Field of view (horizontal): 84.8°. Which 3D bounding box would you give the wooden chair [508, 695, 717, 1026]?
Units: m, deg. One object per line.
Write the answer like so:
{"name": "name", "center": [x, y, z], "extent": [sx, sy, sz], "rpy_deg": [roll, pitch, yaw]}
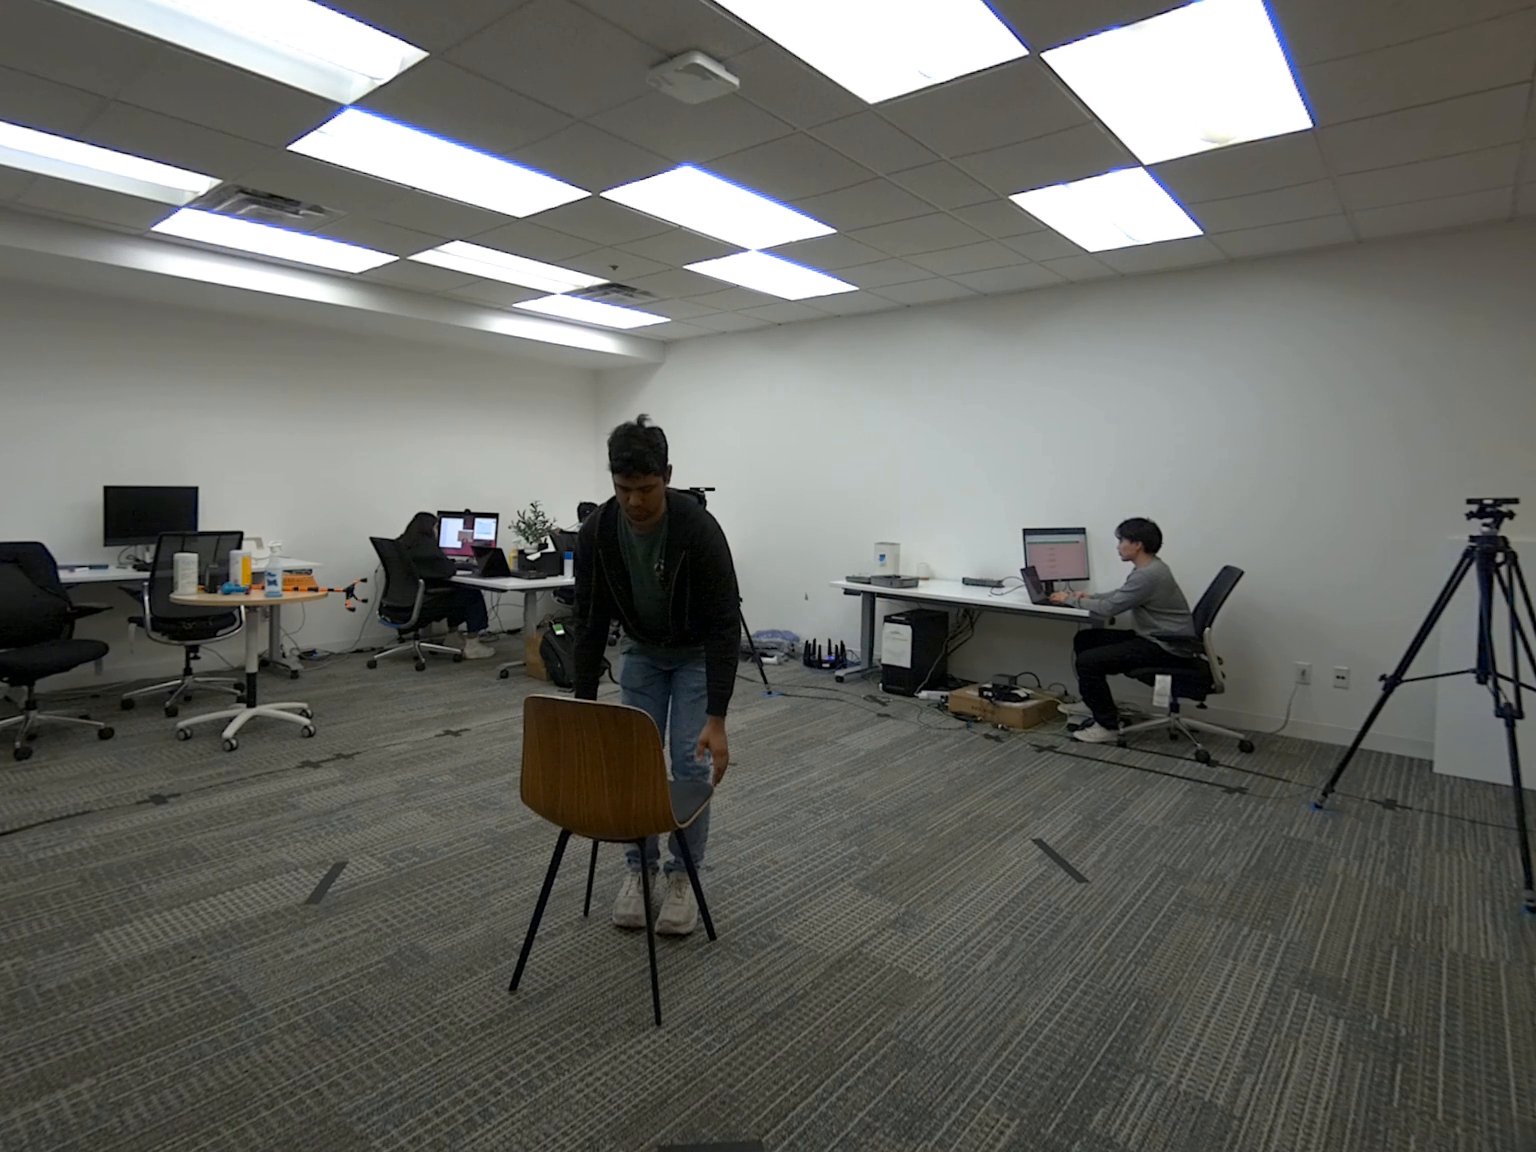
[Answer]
{"name": "wooden chair", "center": [-0.429, 0.700, 2.447], "extent": [0.487, 0.871, 0.517], "rpy_deg": [2, 8, 17]}
